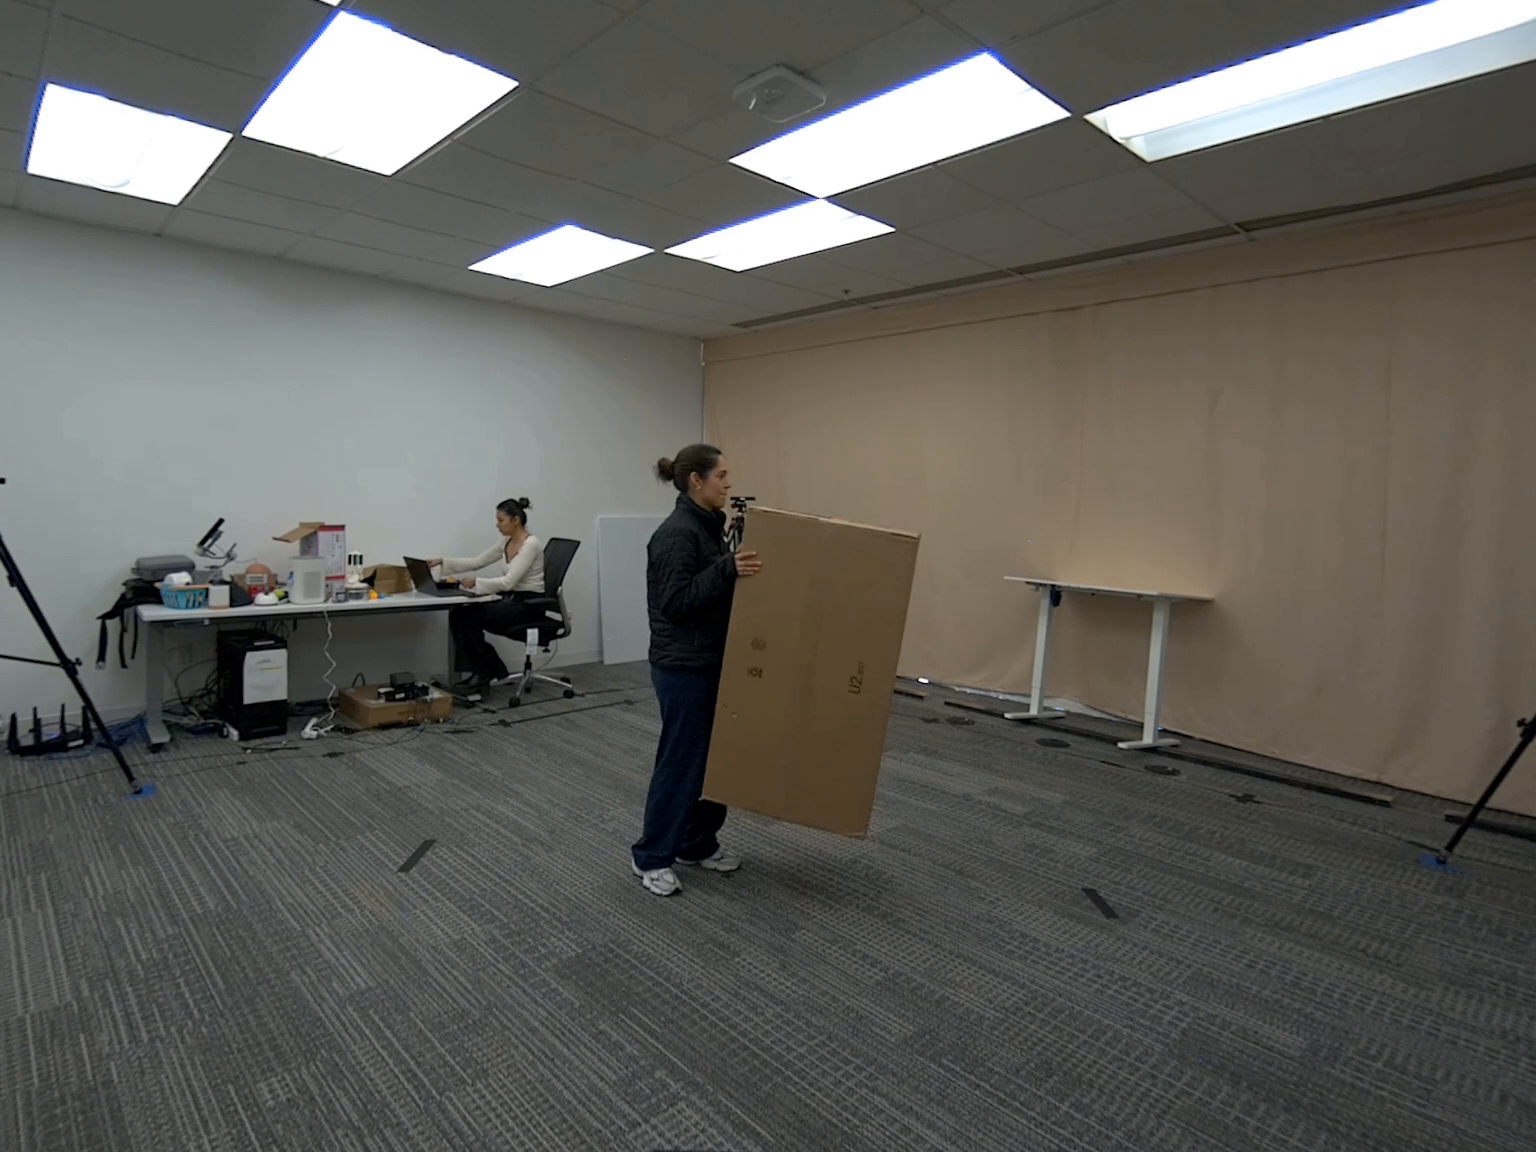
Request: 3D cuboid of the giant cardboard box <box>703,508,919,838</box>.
[{"bbox_3d":[0.157,0.310,2.987,0.584,1.023,0.422,10,5,12],"label":"giant cardboard box"}]
